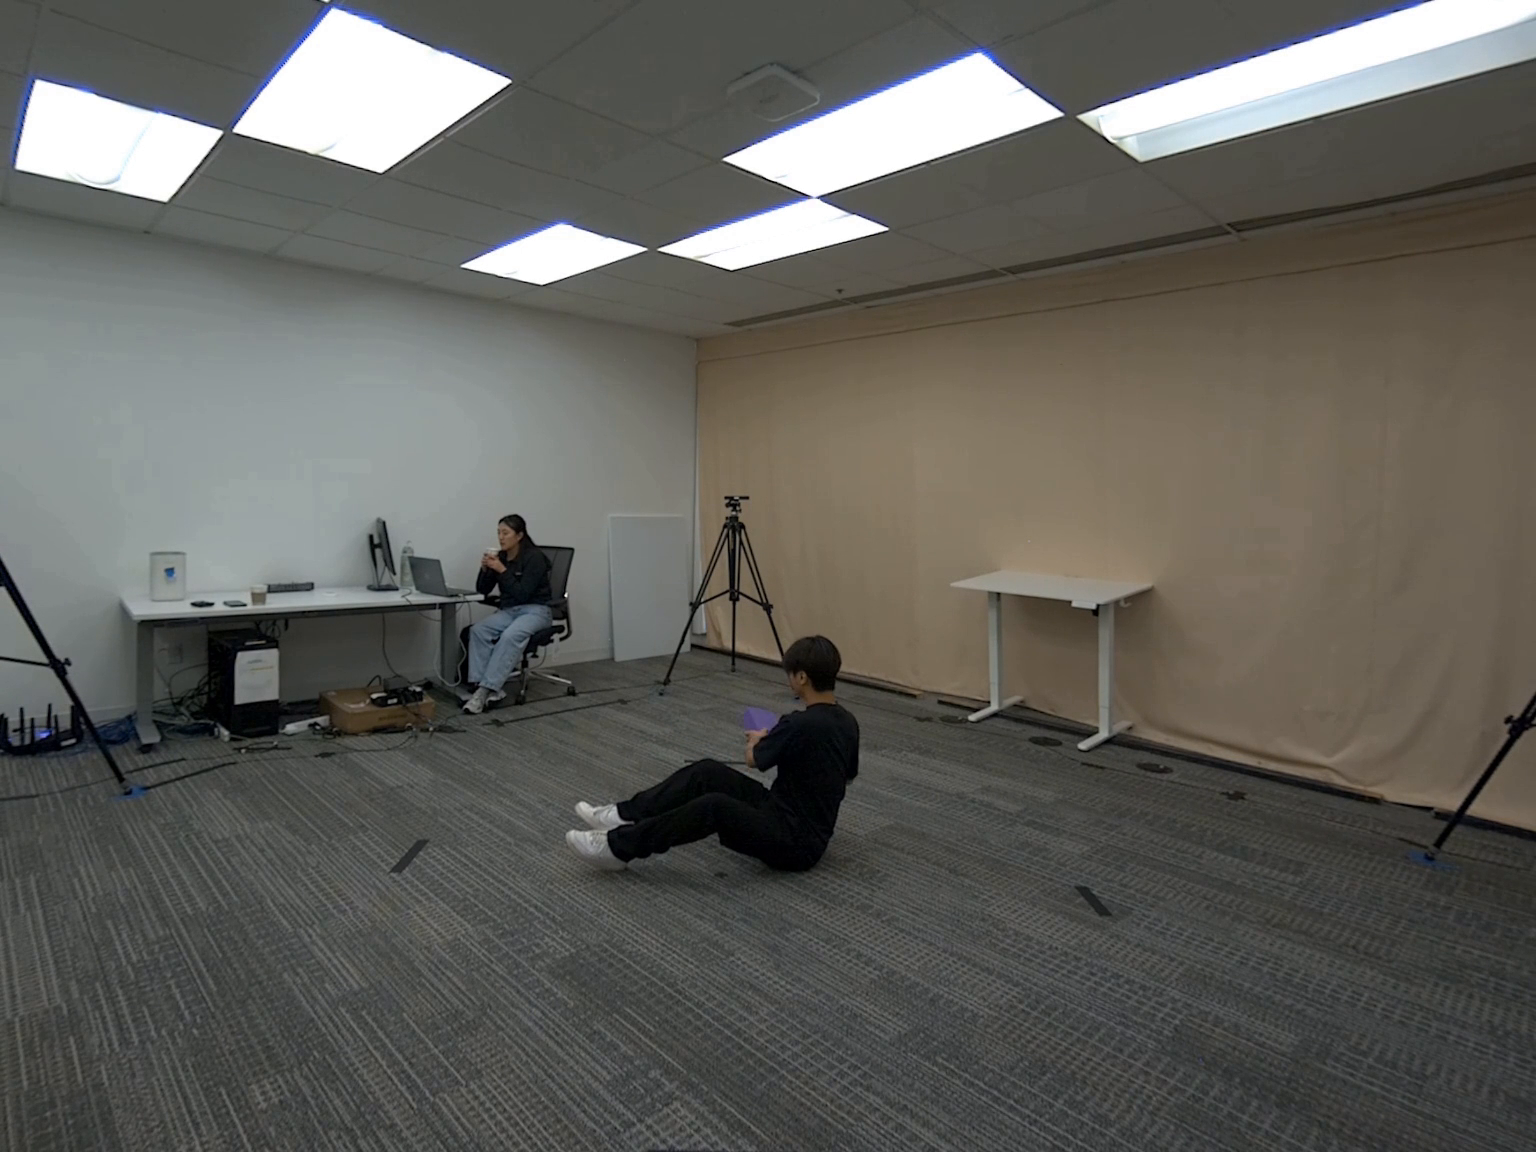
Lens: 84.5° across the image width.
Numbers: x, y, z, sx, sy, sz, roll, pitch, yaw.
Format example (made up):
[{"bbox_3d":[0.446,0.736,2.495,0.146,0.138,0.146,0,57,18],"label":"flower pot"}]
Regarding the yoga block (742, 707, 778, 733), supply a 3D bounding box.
[{"bbox_3d":[-0.011,0.688,3.662,0.145,0.076,0.236,16,27,-35],"label":"yoga block"}]
